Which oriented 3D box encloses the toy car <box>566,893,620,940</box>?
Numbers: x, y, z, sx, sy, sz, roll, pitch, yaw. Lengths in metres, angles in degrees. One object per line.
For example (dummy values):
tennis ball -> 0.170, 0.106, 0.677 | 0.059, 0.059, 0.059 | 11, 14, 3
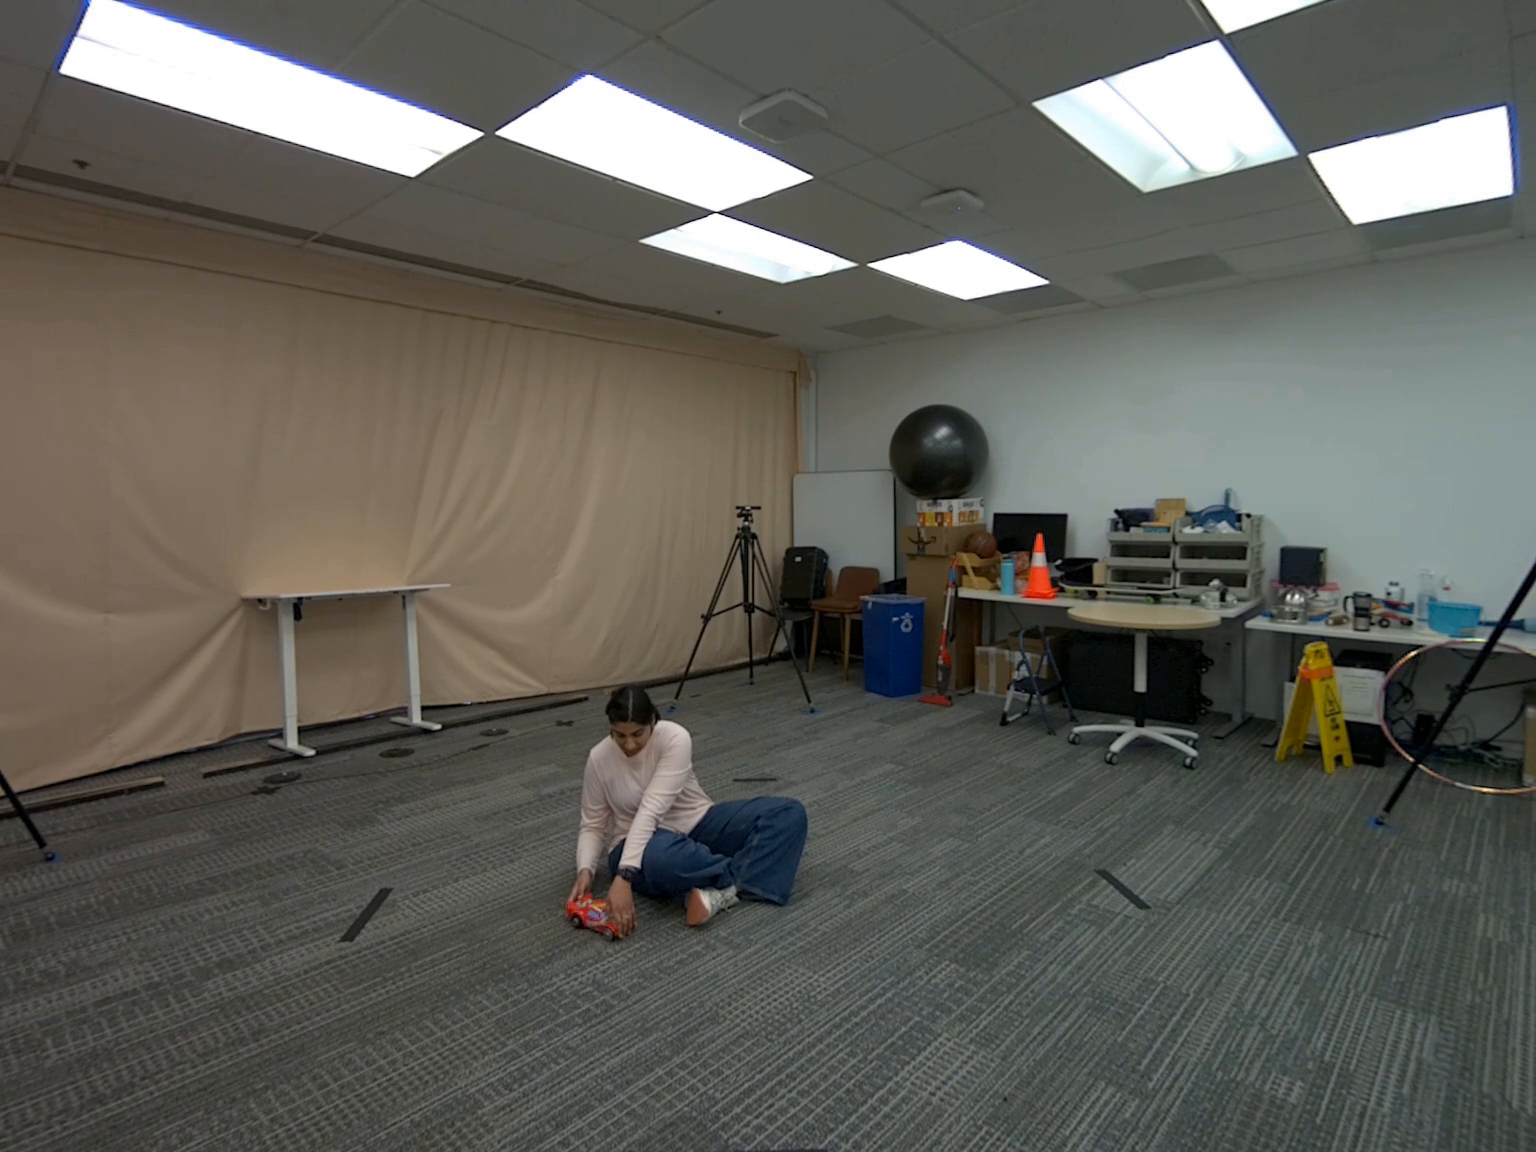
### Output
toy car -> -0.562, 1.126, 2.805 | 0.263, 0.083, 0.126 | 16, 14, 34
